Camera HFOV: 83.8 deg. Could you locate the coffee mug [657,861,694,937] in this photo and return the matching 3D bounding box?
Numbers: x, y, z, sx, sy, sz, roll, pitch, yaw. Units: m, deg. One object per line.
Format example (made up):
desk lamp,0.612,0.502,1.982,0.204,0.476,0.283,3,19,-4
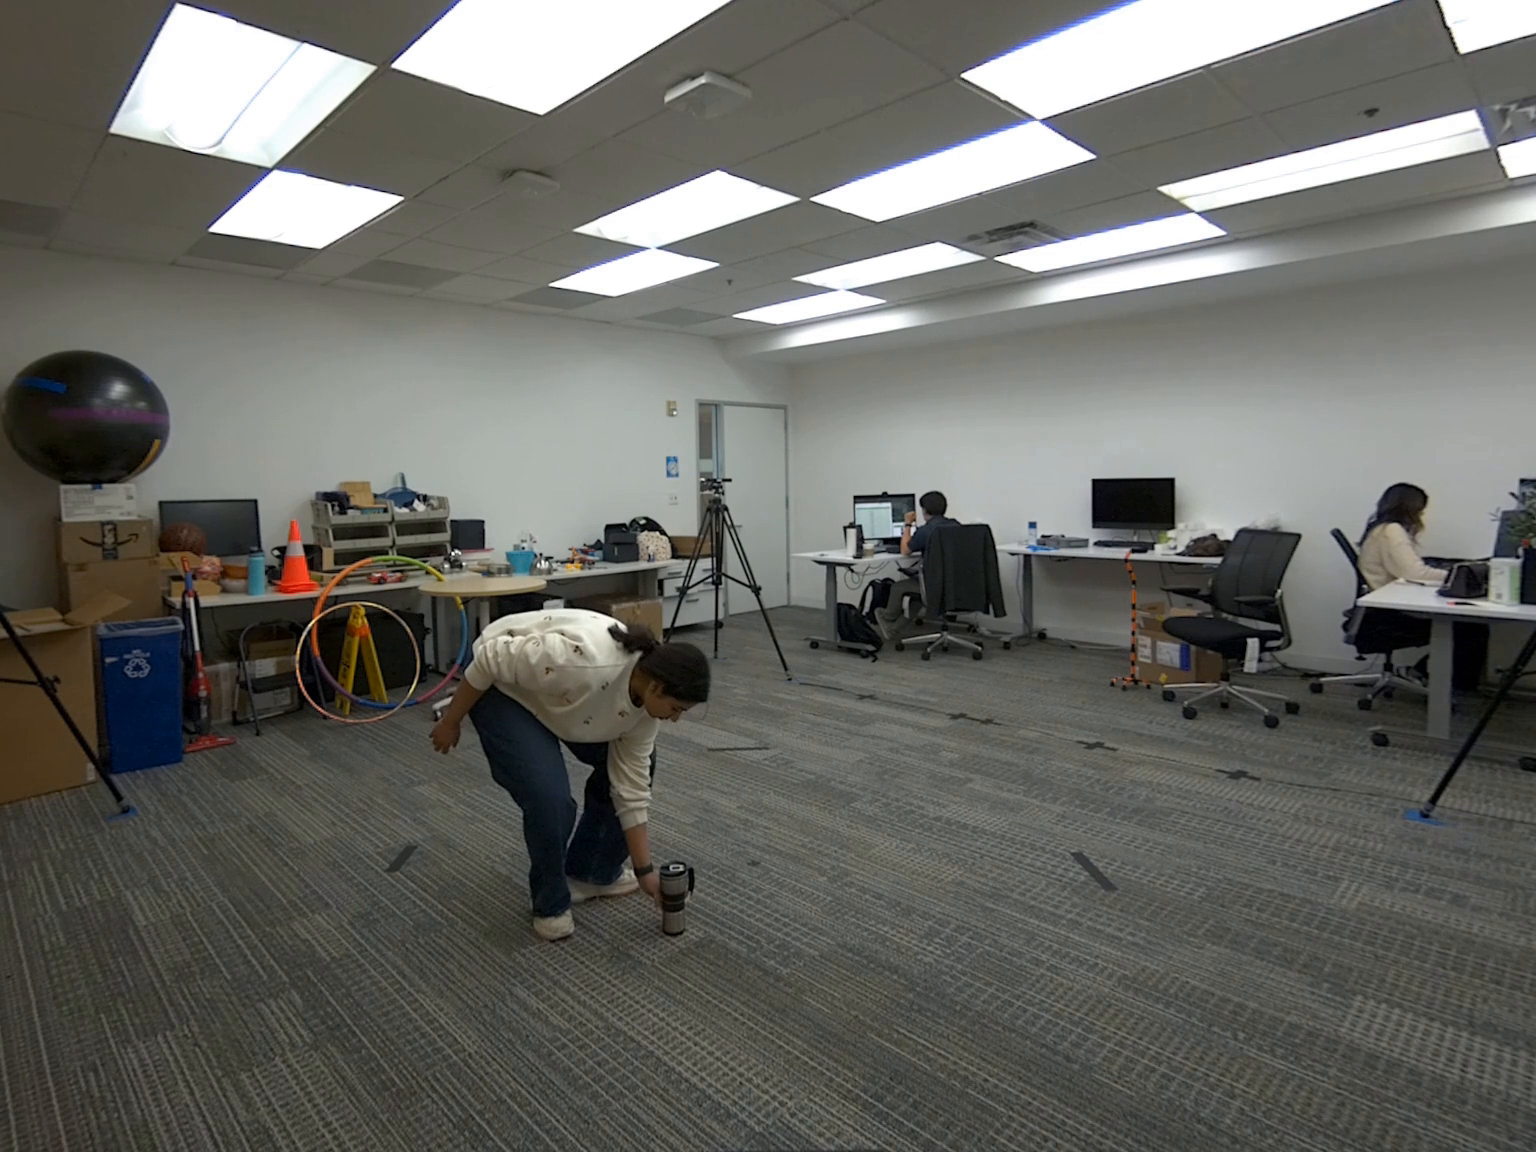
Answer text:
coffee mug,-0.271,0.996,2.654,0.119,0.202,0.090,-6,2,-27
